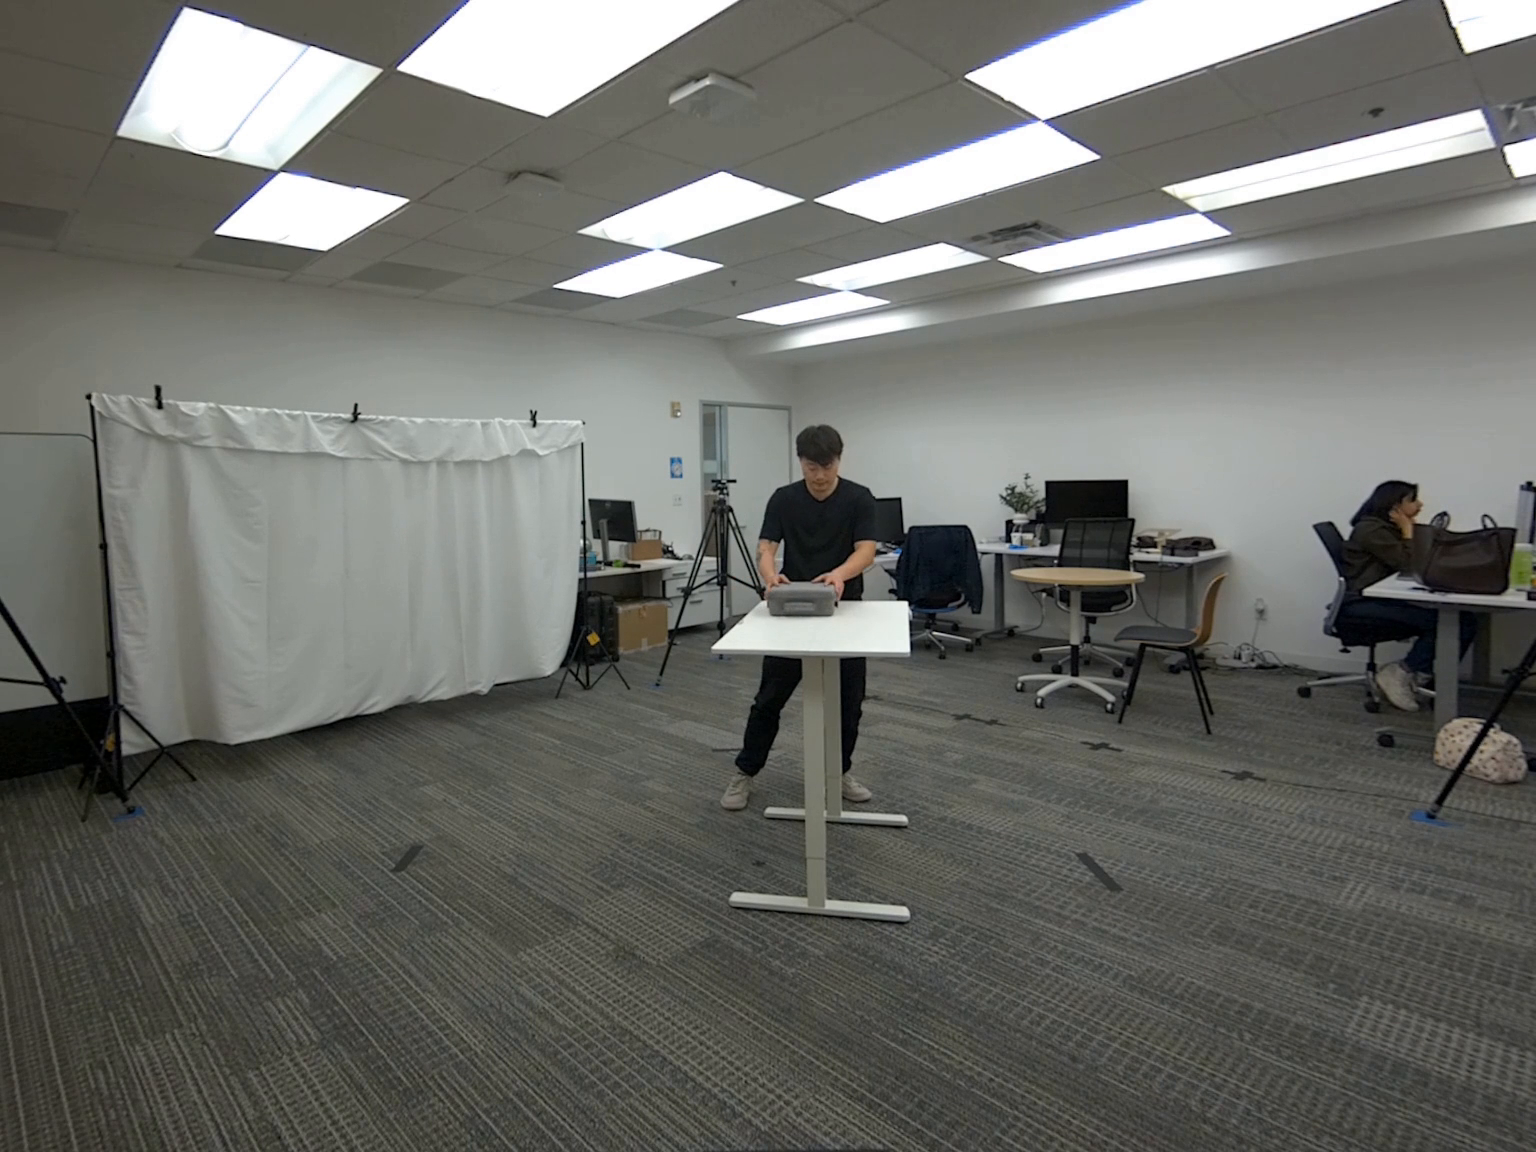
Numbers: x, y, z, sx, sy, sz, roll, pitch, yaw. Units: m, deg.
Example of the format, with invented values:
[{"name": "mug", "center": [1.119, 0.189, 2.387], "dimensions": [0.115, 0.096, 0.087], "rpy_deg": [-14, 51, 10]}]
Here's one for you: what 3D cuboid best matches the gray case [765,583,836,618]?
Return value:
[{"name": "gray case", "center": [0.139, 0.095, 3.301], "dimensions": [0.259, 0.104, 0.260], "rpy_deg": [0, 6, 6]}]
